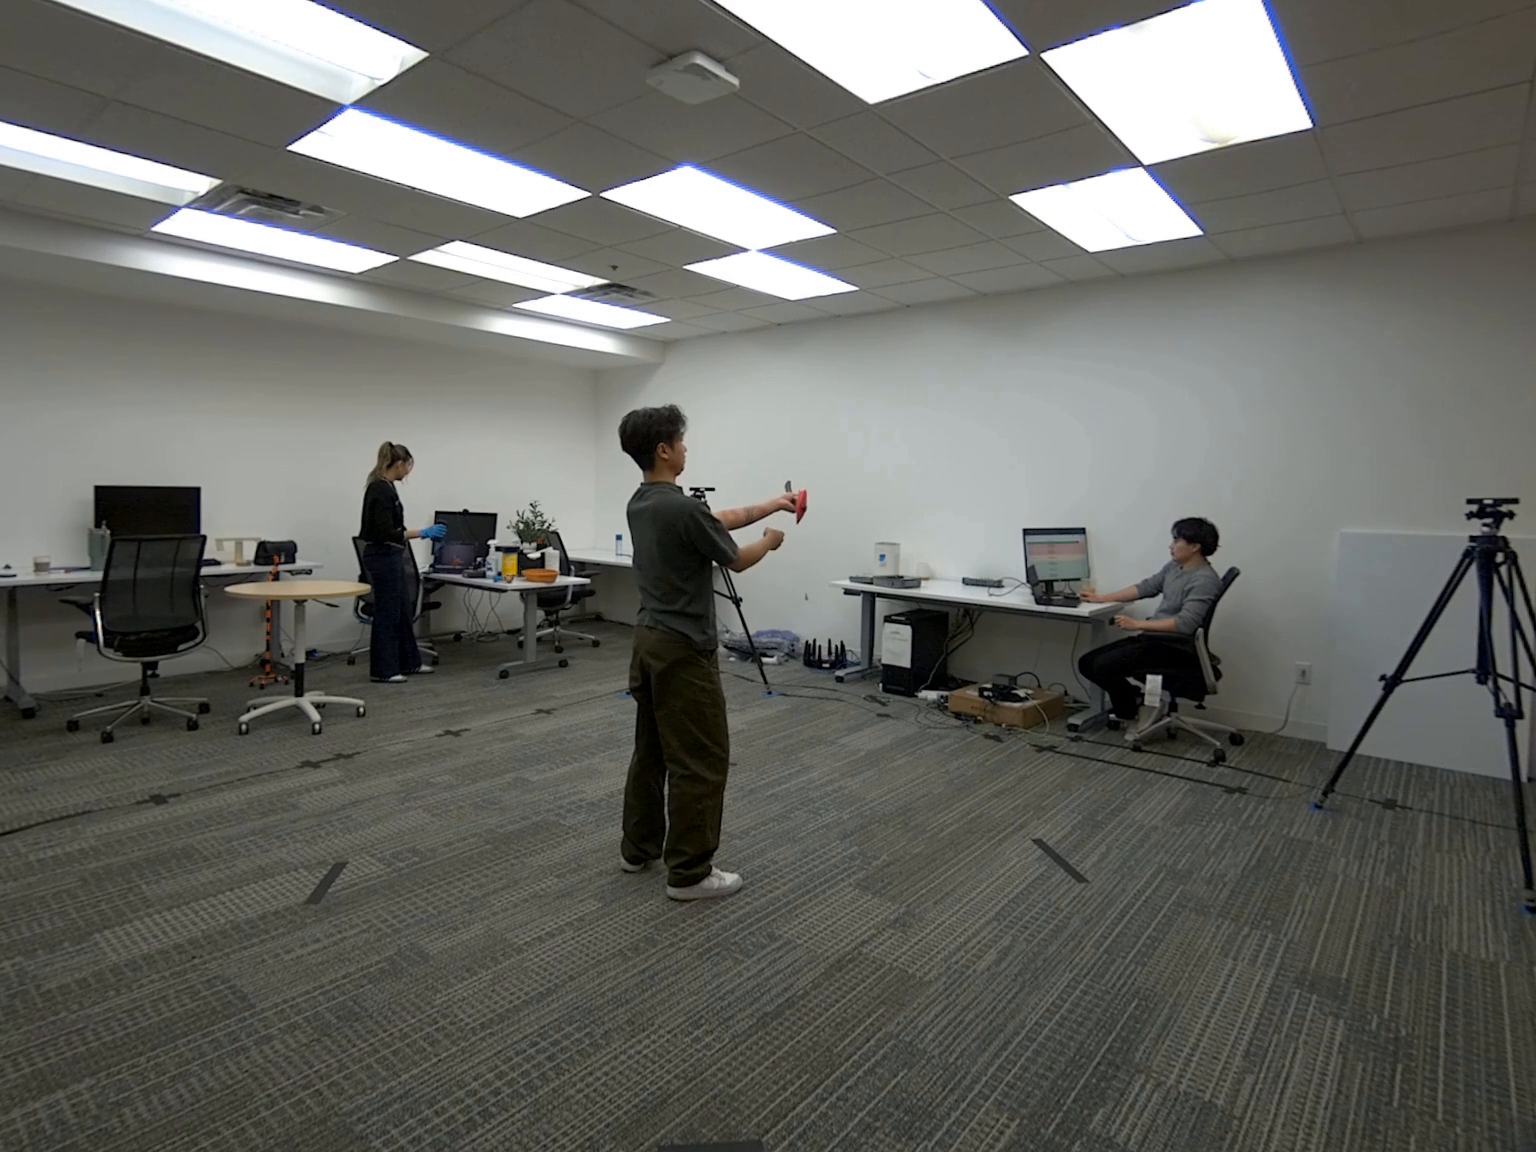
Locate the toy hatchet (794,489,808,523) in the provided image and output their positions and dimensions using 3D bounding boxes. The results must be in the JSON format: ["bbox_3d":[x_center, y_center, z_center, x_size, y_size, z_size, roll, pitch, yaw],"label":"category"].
[{"bbox_3d":[0.100,-0.322,3.253,0.029,0.129,0.279,7,38,-16],"label":"toy hatchet"}]
